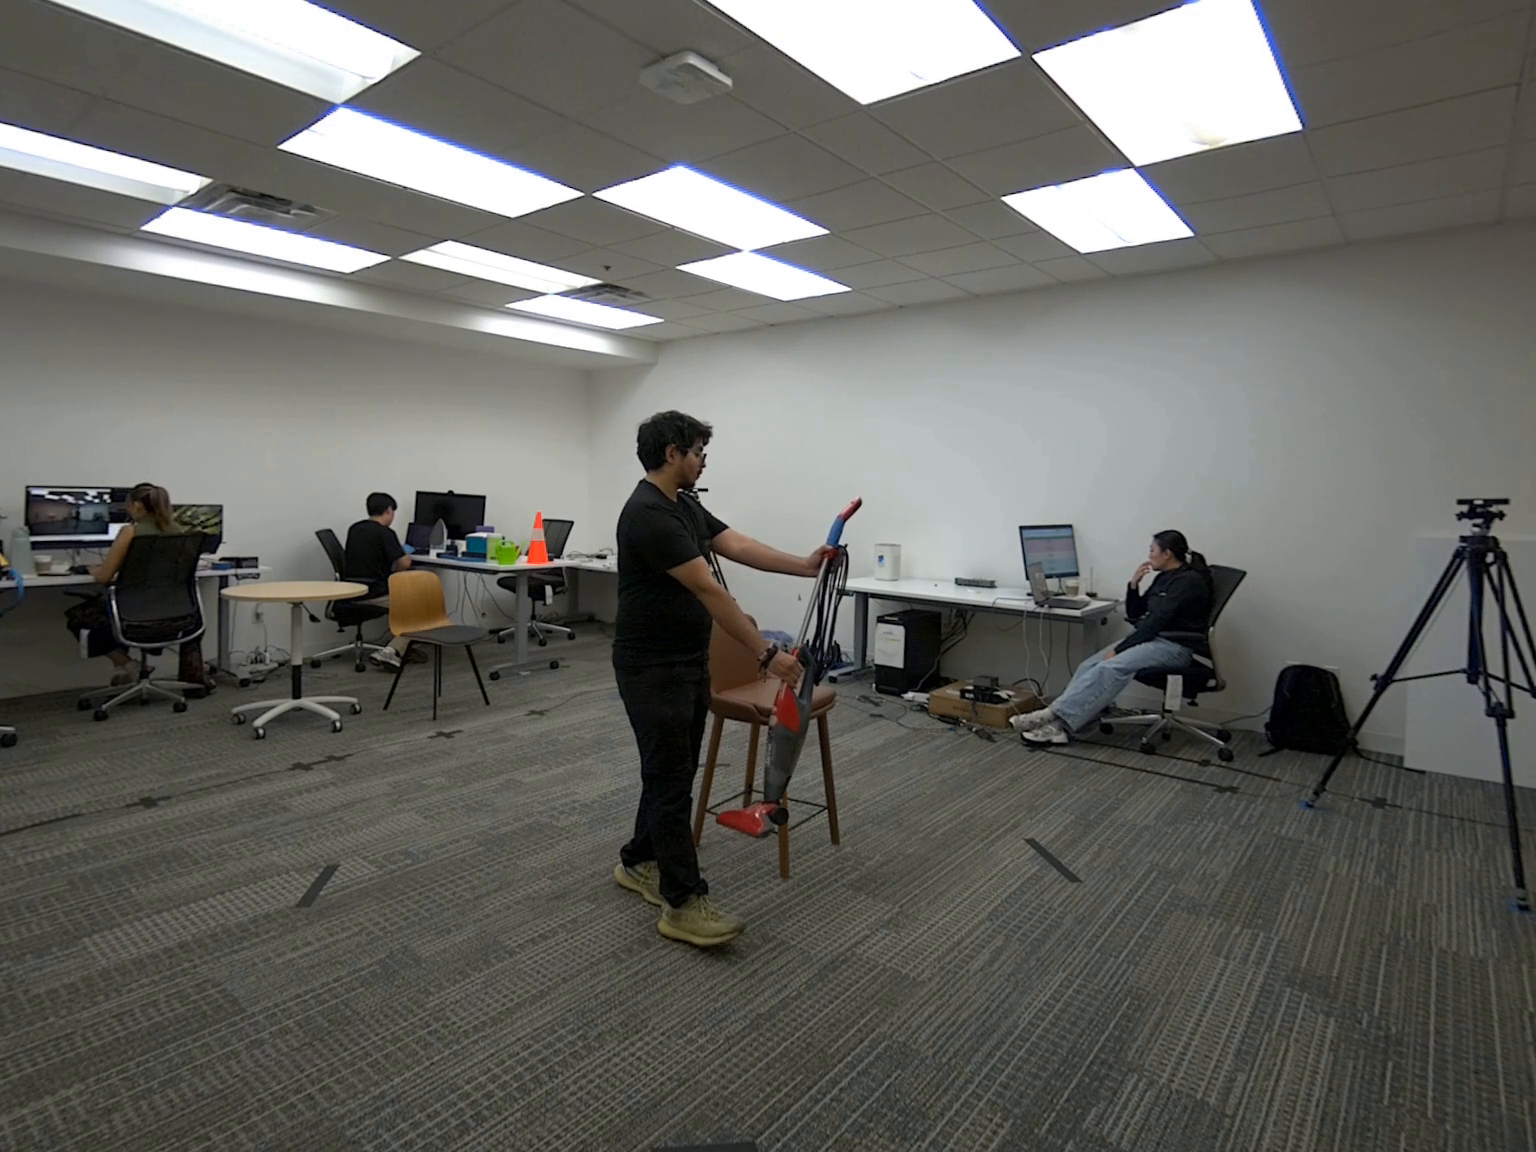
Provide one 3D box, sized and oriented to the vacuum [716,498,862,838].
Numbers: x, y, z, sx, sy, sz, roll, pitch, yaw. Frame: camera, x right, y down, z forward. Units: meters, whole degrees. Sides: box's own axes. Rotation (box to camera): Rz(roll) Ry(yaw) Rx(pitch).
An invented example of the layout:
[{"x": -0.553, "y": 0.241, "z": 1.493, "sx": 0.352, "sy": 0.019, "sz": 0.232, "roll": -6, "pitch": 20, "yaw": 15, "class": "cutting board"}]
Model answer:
[{"x": 0.129, "y": 0.237, "z": 2.601, "sx": 0.140, "sy": 1.059, "sz": 0.257, "roll": 27, "pitch": -20, "yaw": -23, "class": "vacuum"}]
